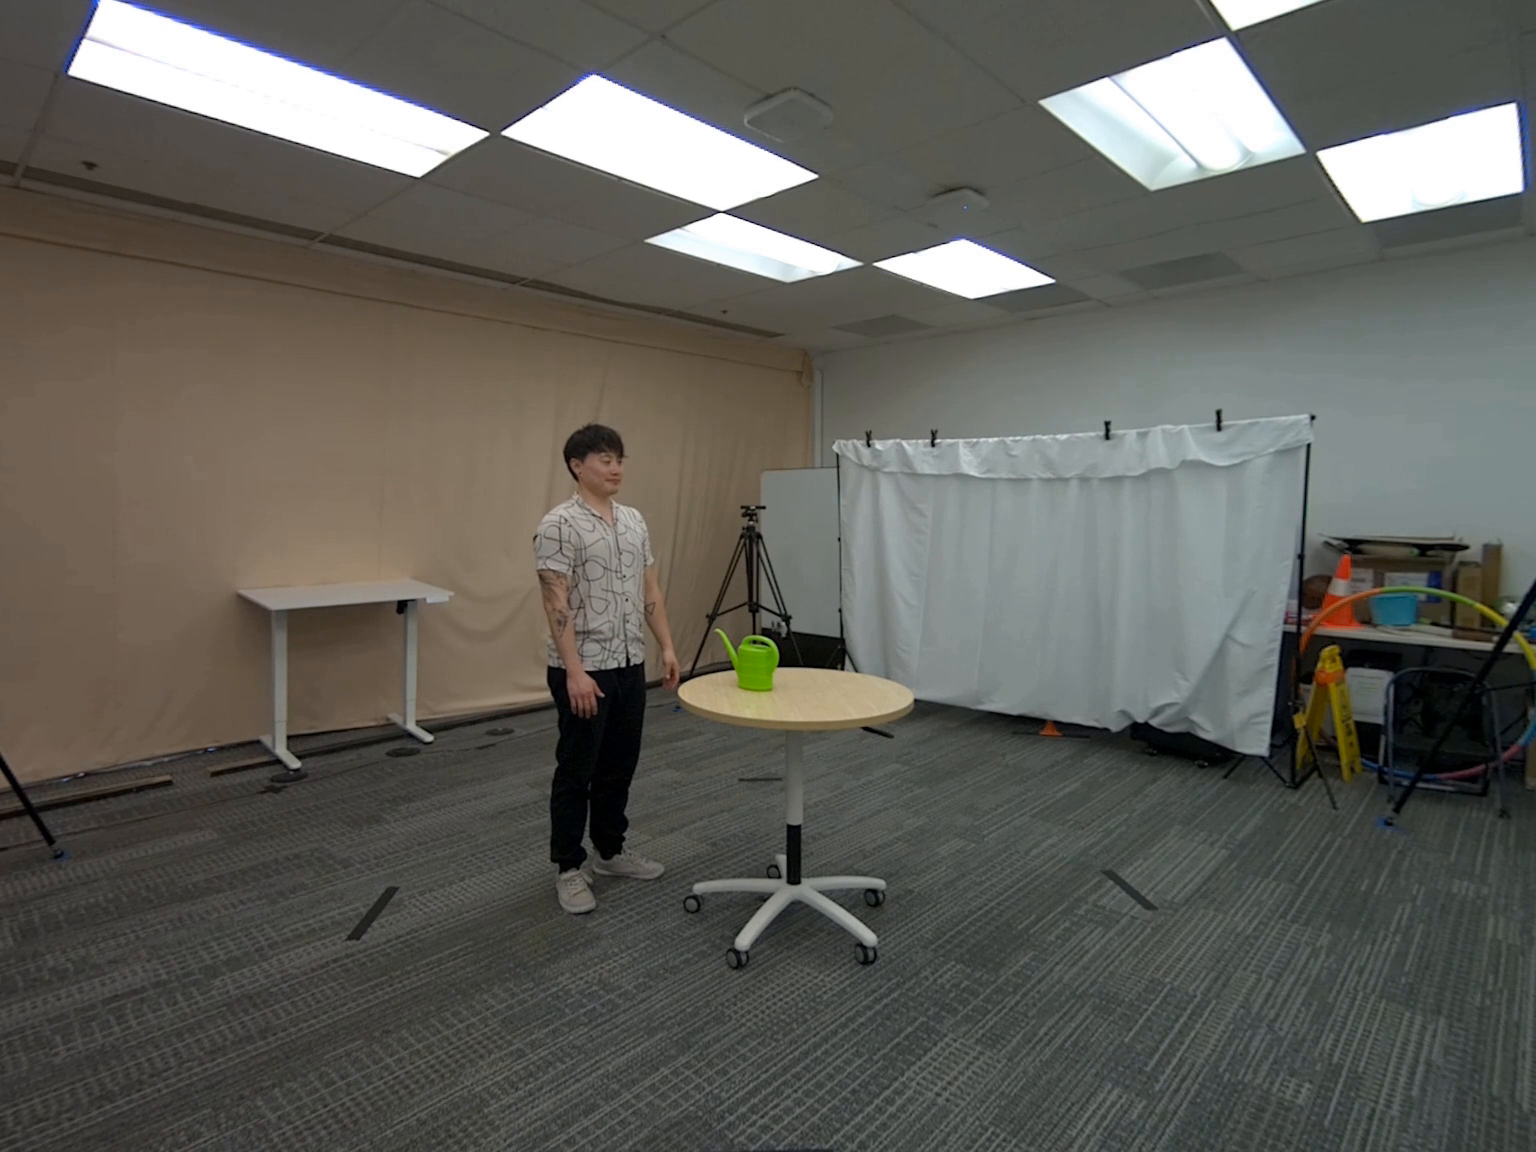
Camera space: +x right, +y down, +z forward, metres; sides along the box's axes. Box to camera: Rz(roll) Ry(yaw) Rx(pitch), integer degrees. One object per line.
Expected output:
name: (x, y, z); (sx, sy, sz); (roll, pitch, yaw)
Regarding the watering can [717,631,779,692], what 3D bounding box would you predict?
watering can: (-0.063, 0.283, 2.826); (0.095, 0.176, 0.287); (-2, 7, -36)
